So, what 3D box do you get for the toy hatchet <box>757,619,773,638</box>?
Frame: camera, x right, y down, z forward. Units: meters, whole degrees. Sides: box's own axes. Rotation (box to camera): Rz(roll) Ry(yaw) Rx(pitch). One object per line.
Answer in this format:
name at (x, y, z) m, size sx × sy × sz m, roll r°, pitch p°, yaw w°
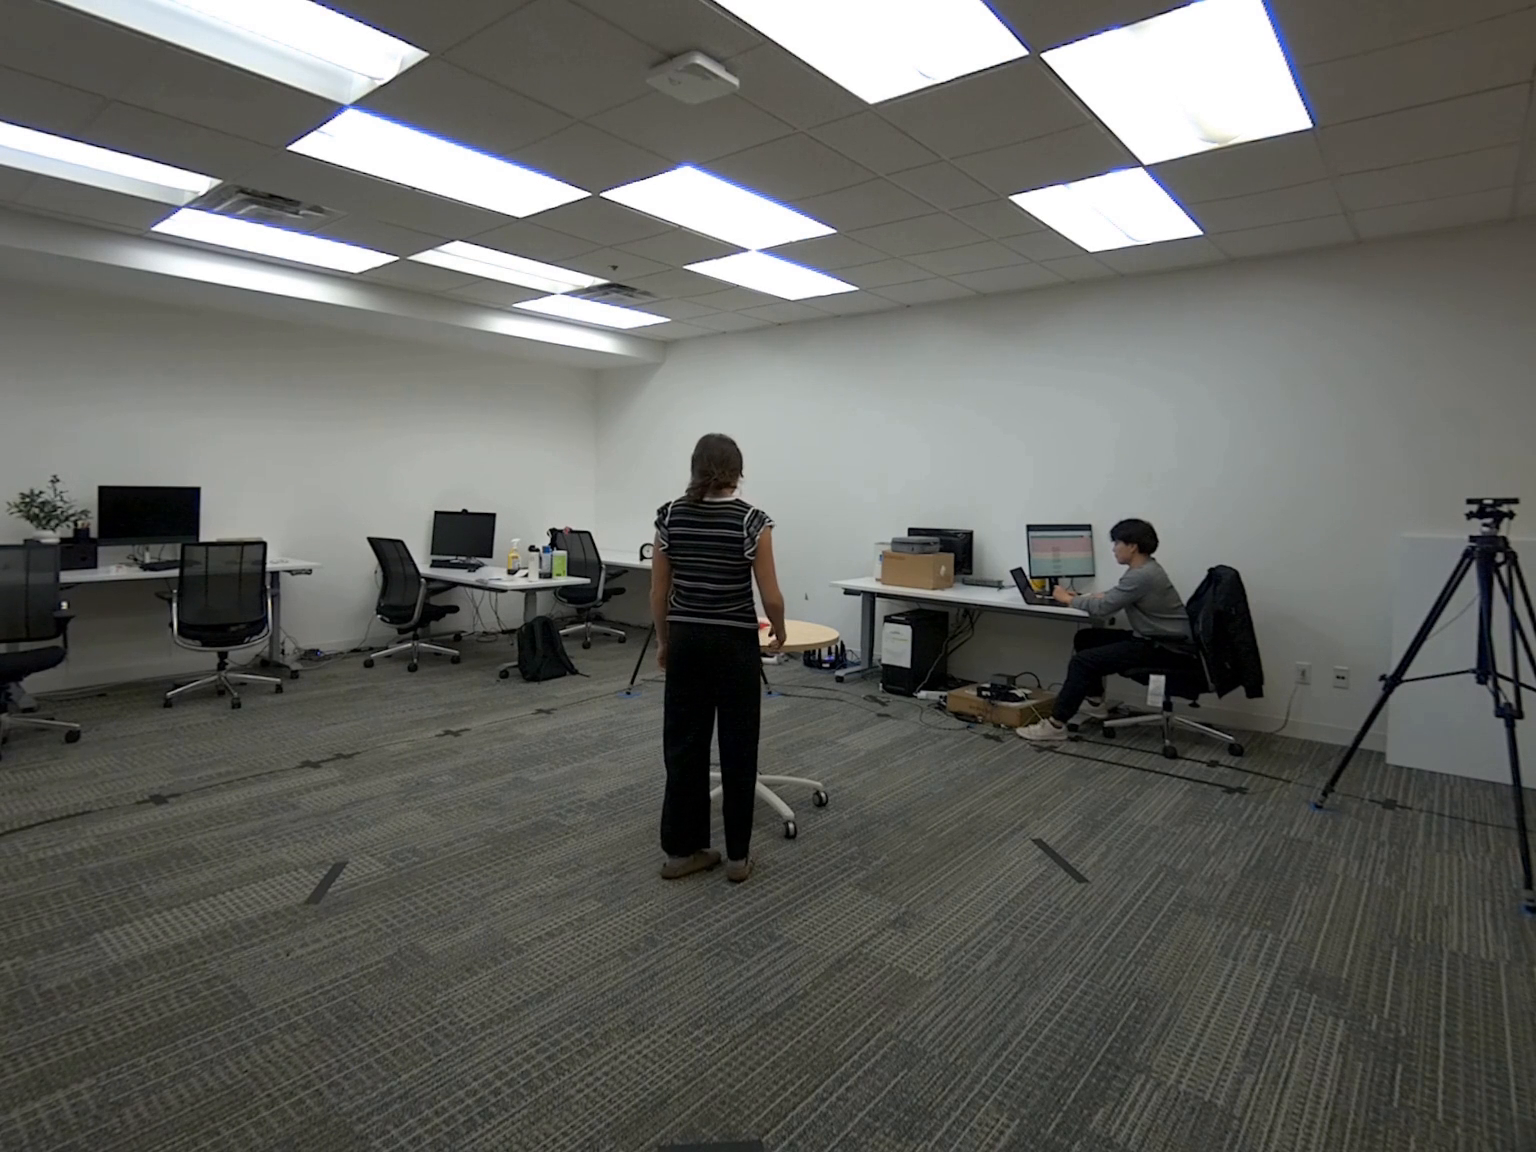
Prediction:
toy hatchet at (-0.101, 0.220, 3.626) m, size 0.134 × 0.029 × 0.264 m, roll 3°, pitch 7°, yaw 25°
